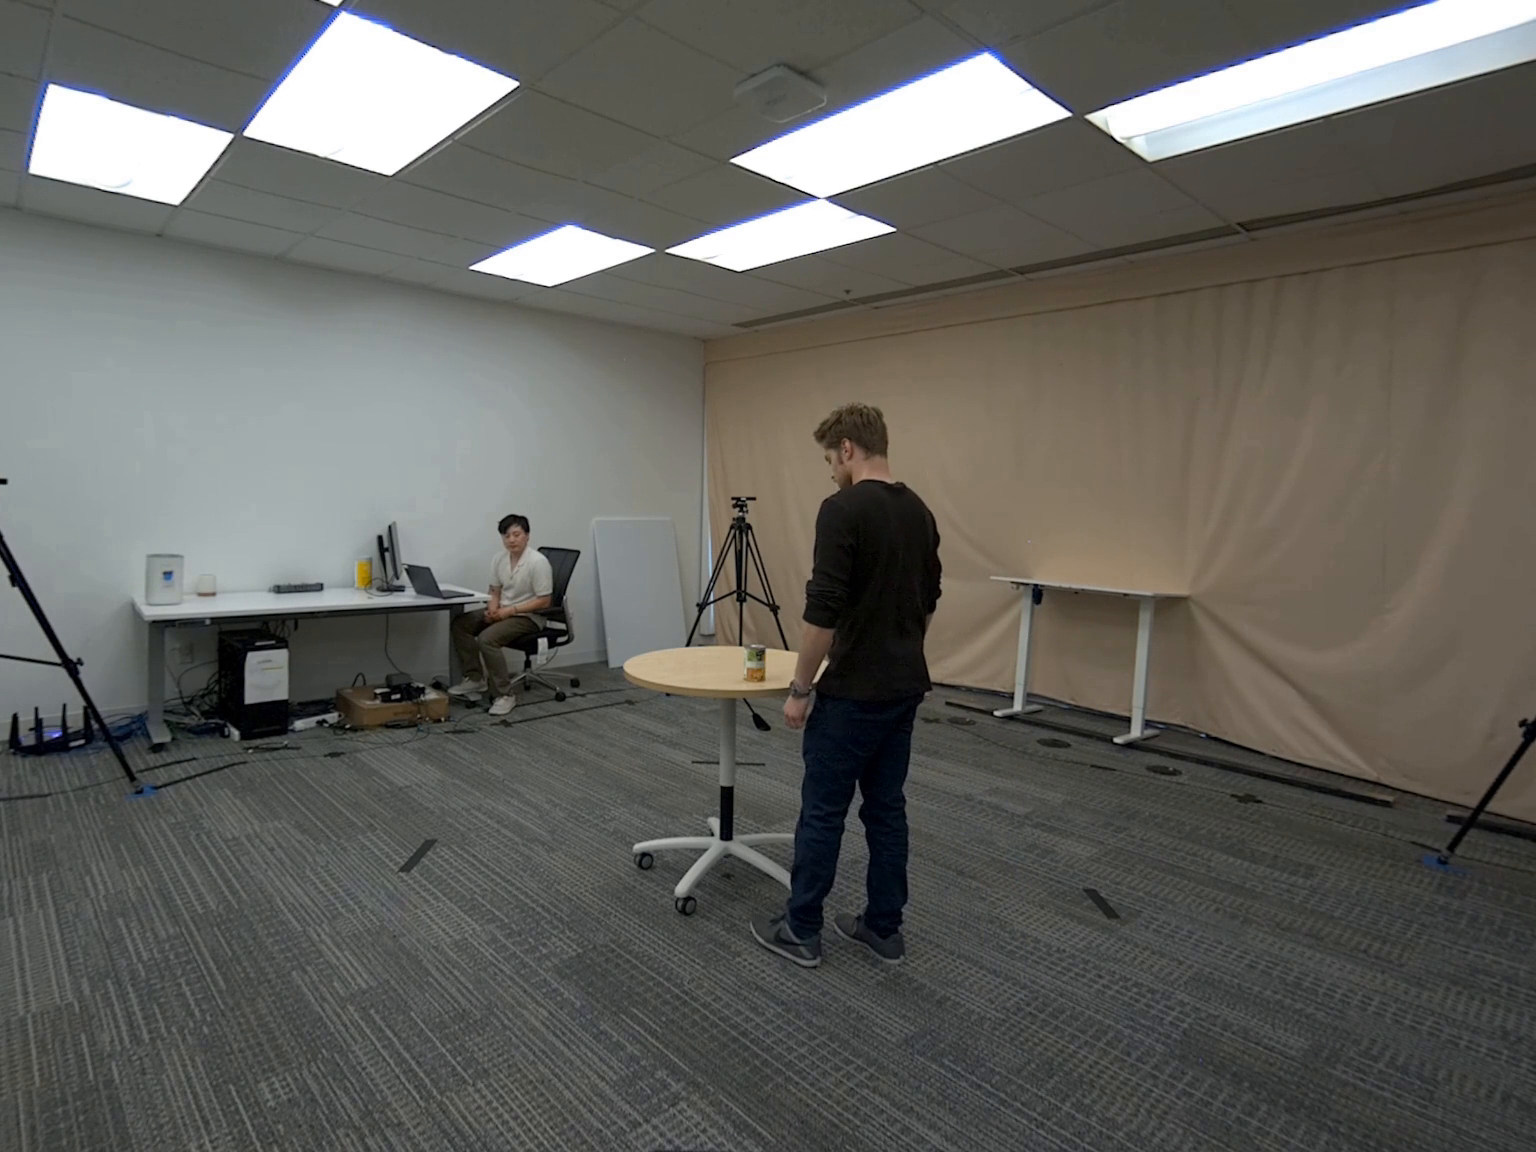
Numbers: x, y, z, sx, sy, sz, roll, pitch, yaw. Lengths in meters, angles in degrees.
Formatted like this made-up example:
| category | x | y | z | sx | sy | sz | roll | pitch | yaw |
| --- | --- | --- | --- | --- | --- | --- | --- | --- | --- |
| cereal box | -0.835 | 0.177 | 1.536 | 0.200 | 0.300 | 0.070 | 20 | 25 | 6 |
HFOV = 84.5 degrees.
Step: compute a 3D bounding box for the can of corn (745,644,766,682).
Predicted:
| category | x | y | z | sx | sy | sz | roll | pitch | yaw |
| --- | --- | --- | --- | --- | --- | --- | --- | --- | --- |
| can of corn | -0.048 | 0.296 | 2.829 | 0.074 | 0.110 | 0.074 | 3 | 7 | -2 |
